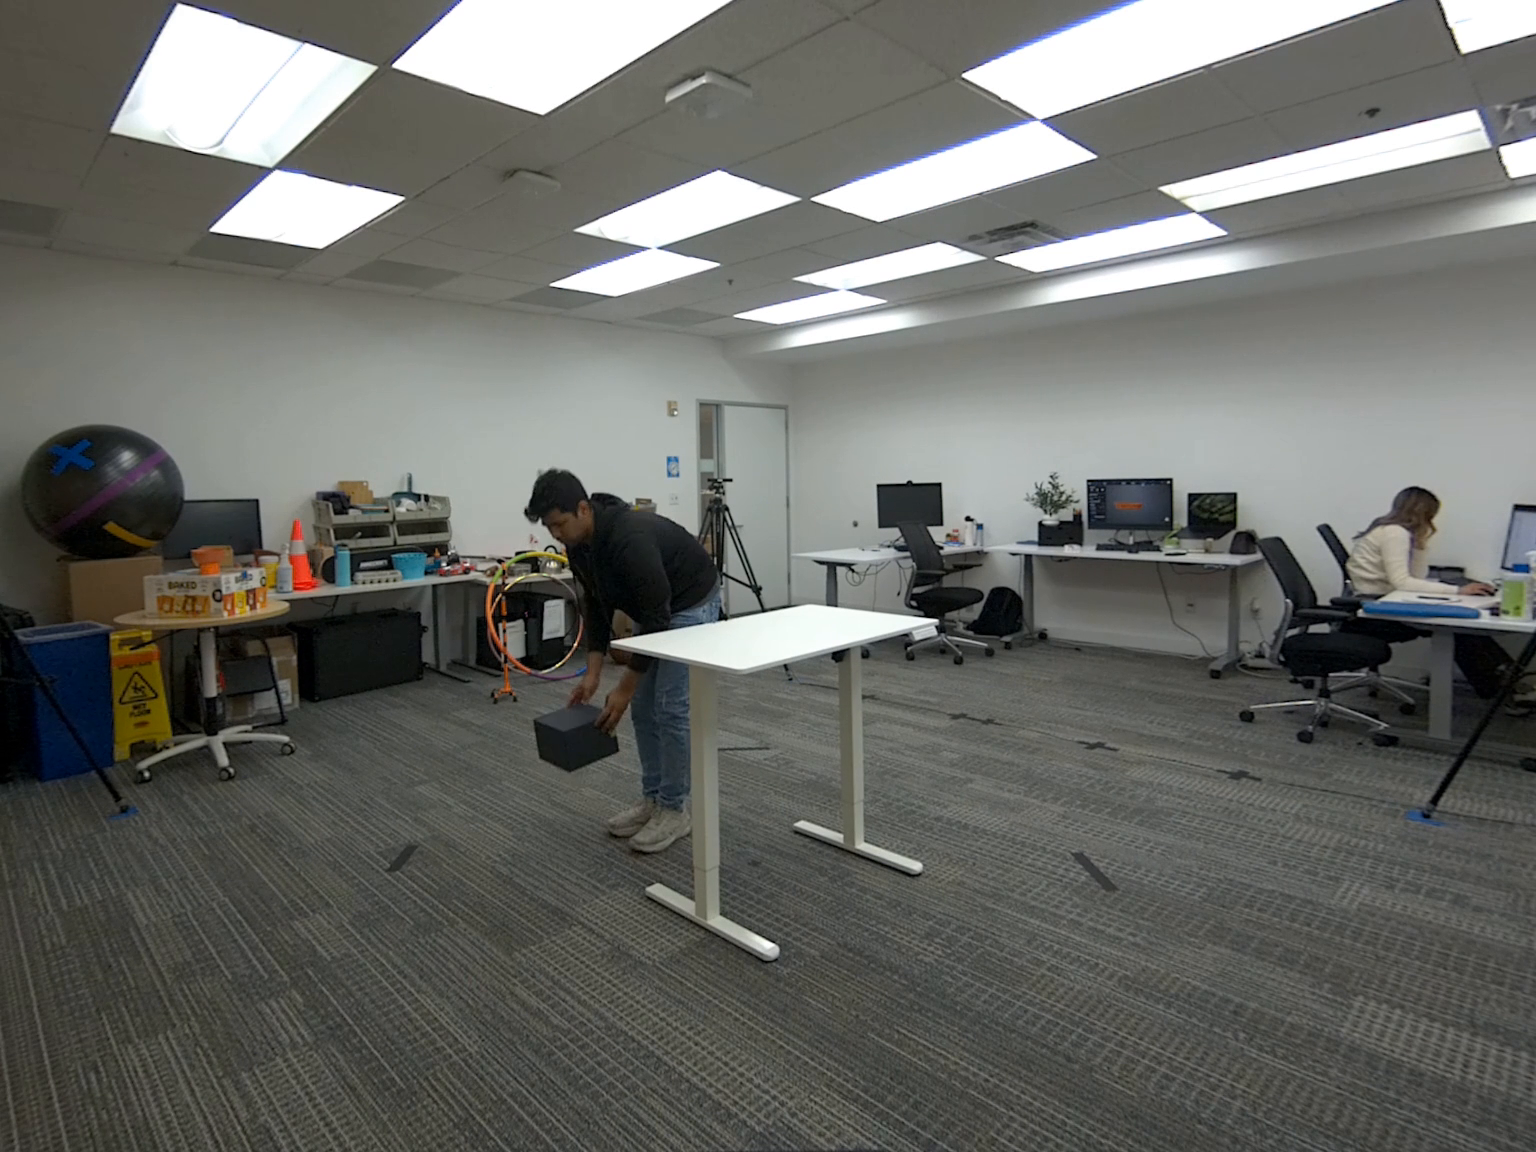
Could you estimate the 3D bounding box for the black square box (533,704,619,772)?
[{"bbox_3d":[-0.708,0.590,3.157,0.212,0.155,0.235,-14,12,-41],"label":"black square box"}]
